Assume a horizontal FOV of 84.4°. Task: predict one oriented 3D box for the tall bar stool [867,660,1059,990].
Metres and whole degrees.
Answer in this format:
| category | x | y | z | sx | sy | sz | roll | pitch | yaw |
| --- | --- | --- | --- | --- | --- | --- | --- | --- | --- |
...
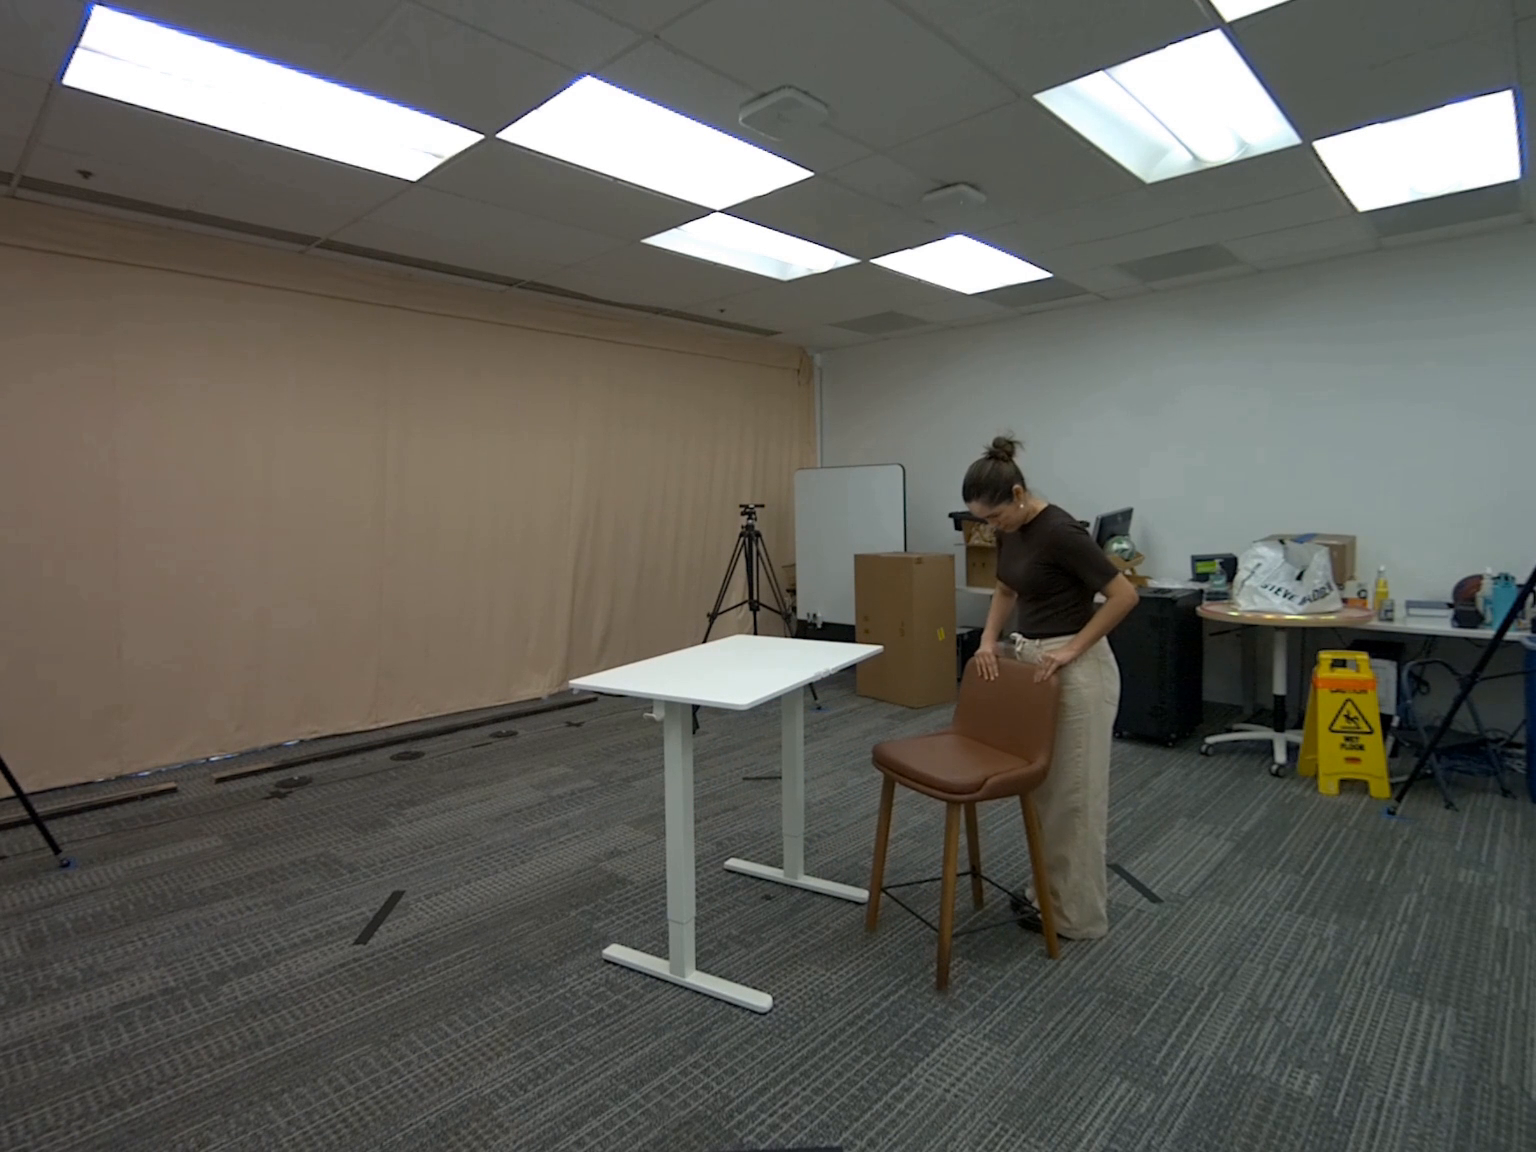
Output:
| category | x | y | z | sx | sy | sz | roll | pitch | yaw |
| --- | --- | --- | --- | --- | --- | --- | --- | --- | --- |
| tall bar stool | 0.615 | 0.726 | 2.622 | 0.457 | 0.888 | 0.468 | 0 | 4 | -24 |
